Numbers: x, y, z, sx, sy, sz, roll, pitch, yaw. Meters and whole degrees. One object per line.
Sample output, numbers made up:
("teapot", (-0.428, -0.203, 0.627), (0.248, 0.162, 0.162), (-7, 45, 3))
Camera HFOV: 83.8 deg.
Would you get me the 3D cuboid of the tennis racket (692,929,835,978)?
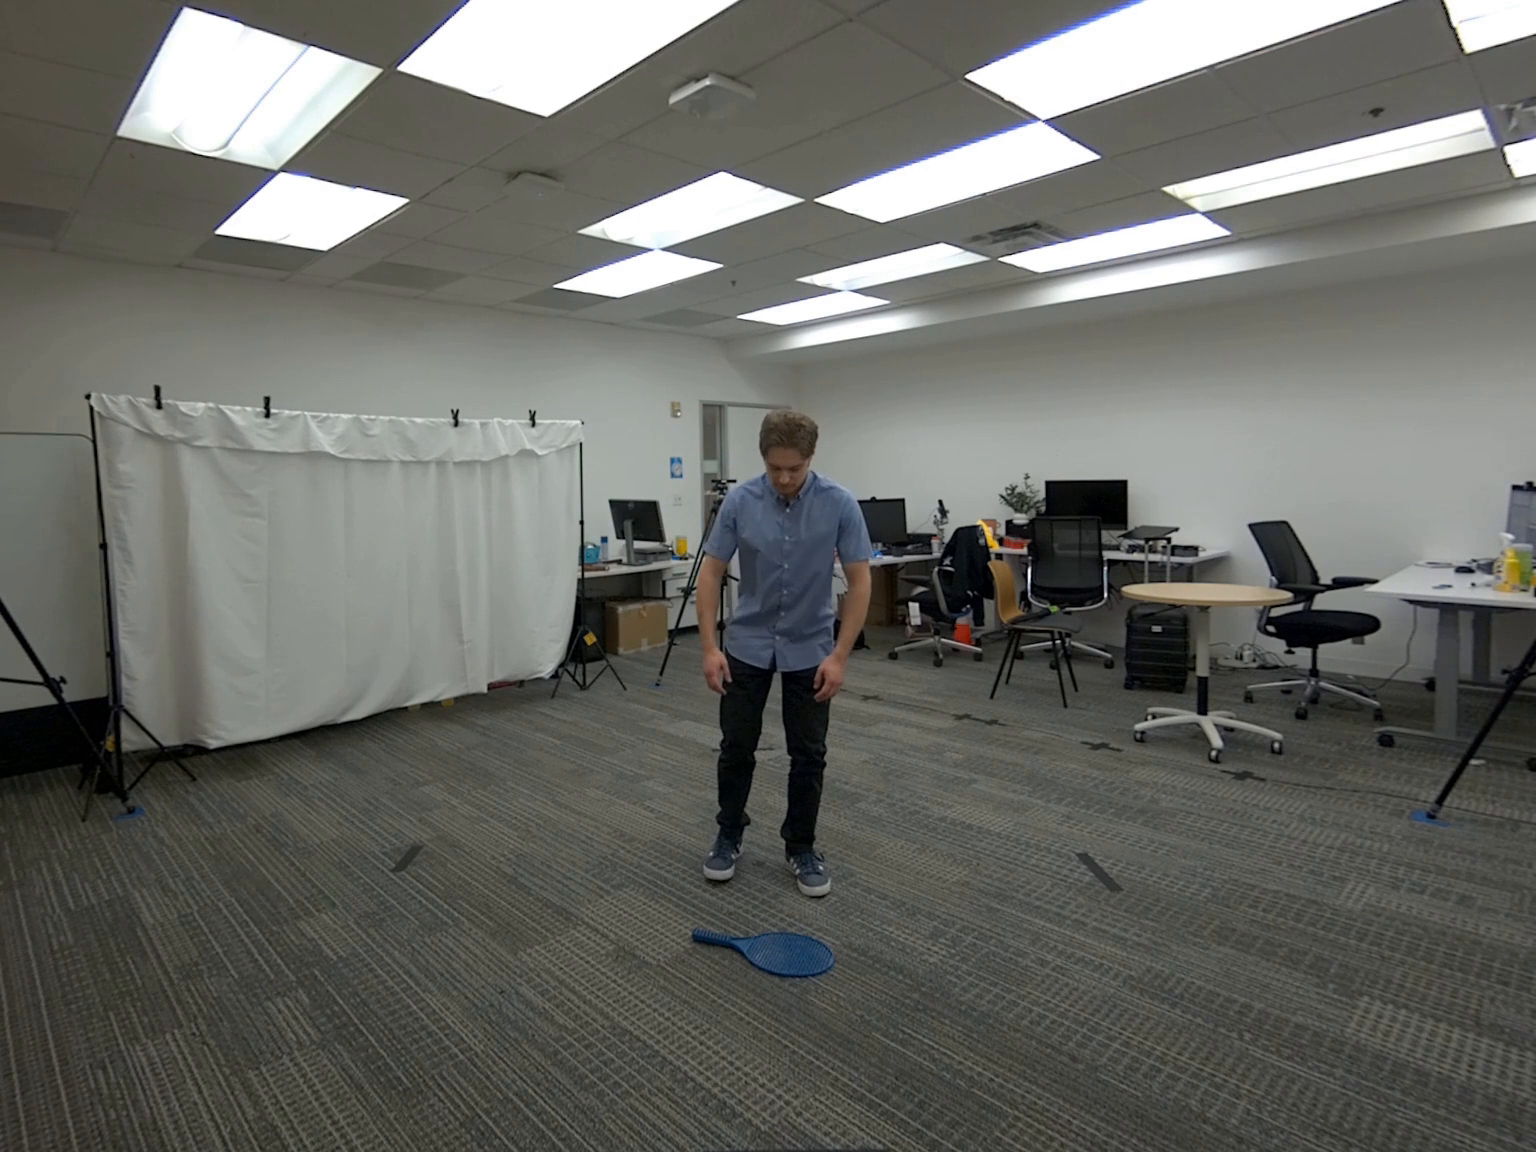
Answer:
("tennis racket", (-0.015, 1.109, 2.529), (0.442, 0.031, 0.211), (5, 10, 20))
